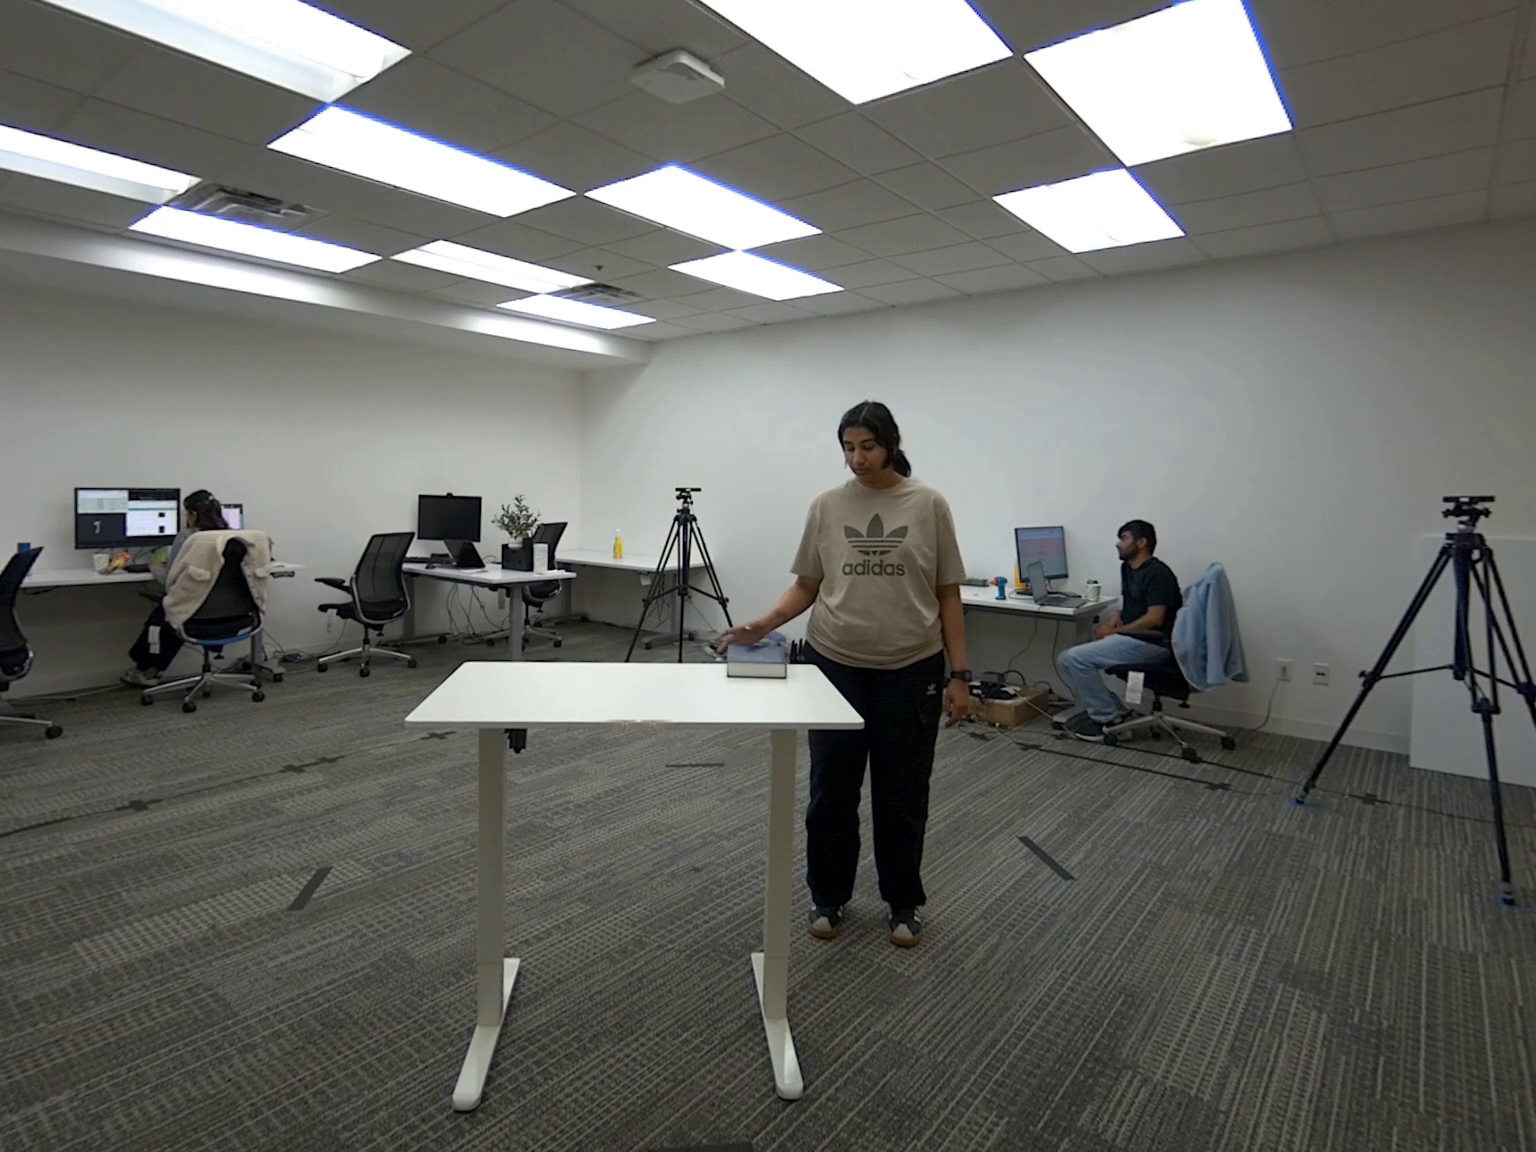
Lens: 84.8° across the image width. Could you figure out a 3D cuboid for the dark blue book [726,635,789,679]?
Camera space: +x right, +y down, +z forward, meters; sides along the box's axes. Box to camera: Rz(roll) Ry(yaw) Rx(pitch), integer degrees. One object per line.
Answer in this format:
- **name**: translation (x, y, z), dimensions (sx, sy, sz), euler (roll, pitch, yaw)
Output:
- **dark blue book**: translation (-0.047, 0.238, 2.407), dimensions (0.163, 0.045, 0.247), euler (0, 6, -3)
